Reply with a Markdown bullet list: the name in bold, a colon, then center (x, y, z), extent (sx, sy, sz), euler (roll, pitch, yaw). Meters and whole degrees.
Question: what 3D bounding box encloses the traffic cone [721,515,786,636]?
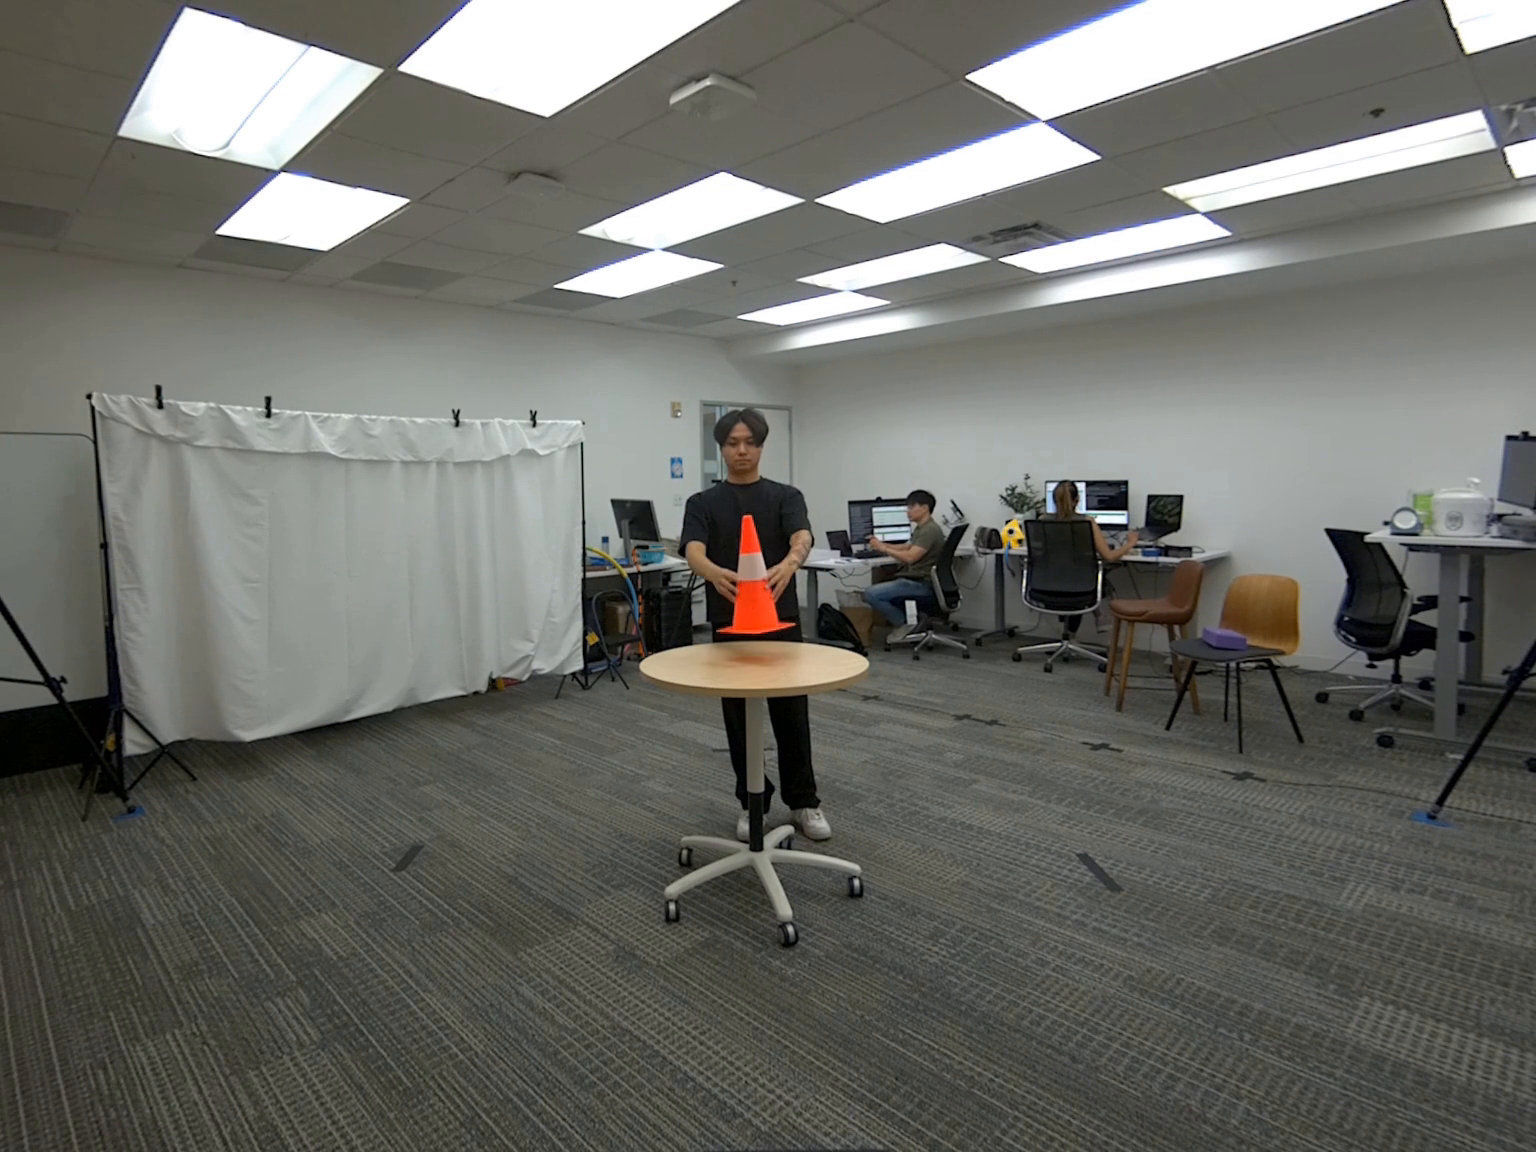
- **traffic cone**: center (-0.060, -0.021, 2.884), extent (0.209, 0.382, 0.200), euler (-1, 5, 44)
